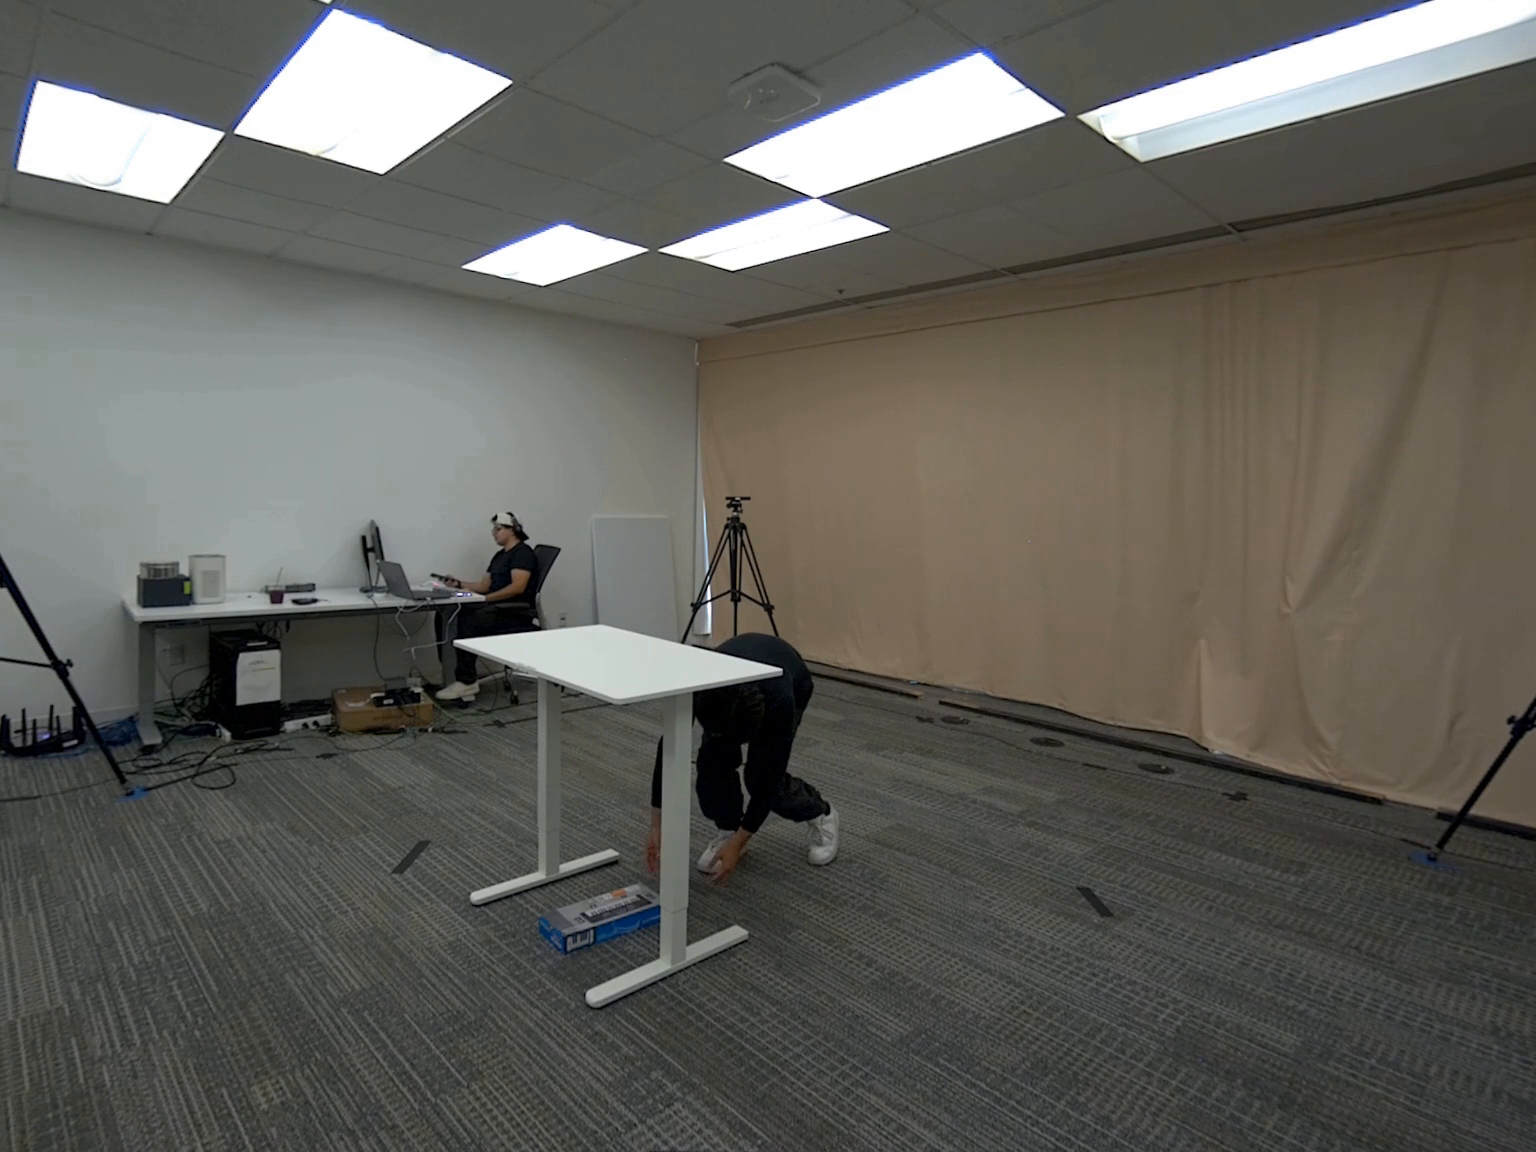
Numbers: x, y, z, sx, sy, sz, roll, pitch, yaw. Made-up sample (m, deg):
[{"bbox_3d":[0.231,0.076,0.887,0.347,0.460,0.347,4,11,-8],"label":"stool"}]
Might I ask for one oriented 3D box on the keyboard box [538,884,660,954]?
[{"bbox_3d":[-0.512,1.101,2.742,0.427,0.059,0.180,-2,6,-39],"label":"keyboard box"}]
